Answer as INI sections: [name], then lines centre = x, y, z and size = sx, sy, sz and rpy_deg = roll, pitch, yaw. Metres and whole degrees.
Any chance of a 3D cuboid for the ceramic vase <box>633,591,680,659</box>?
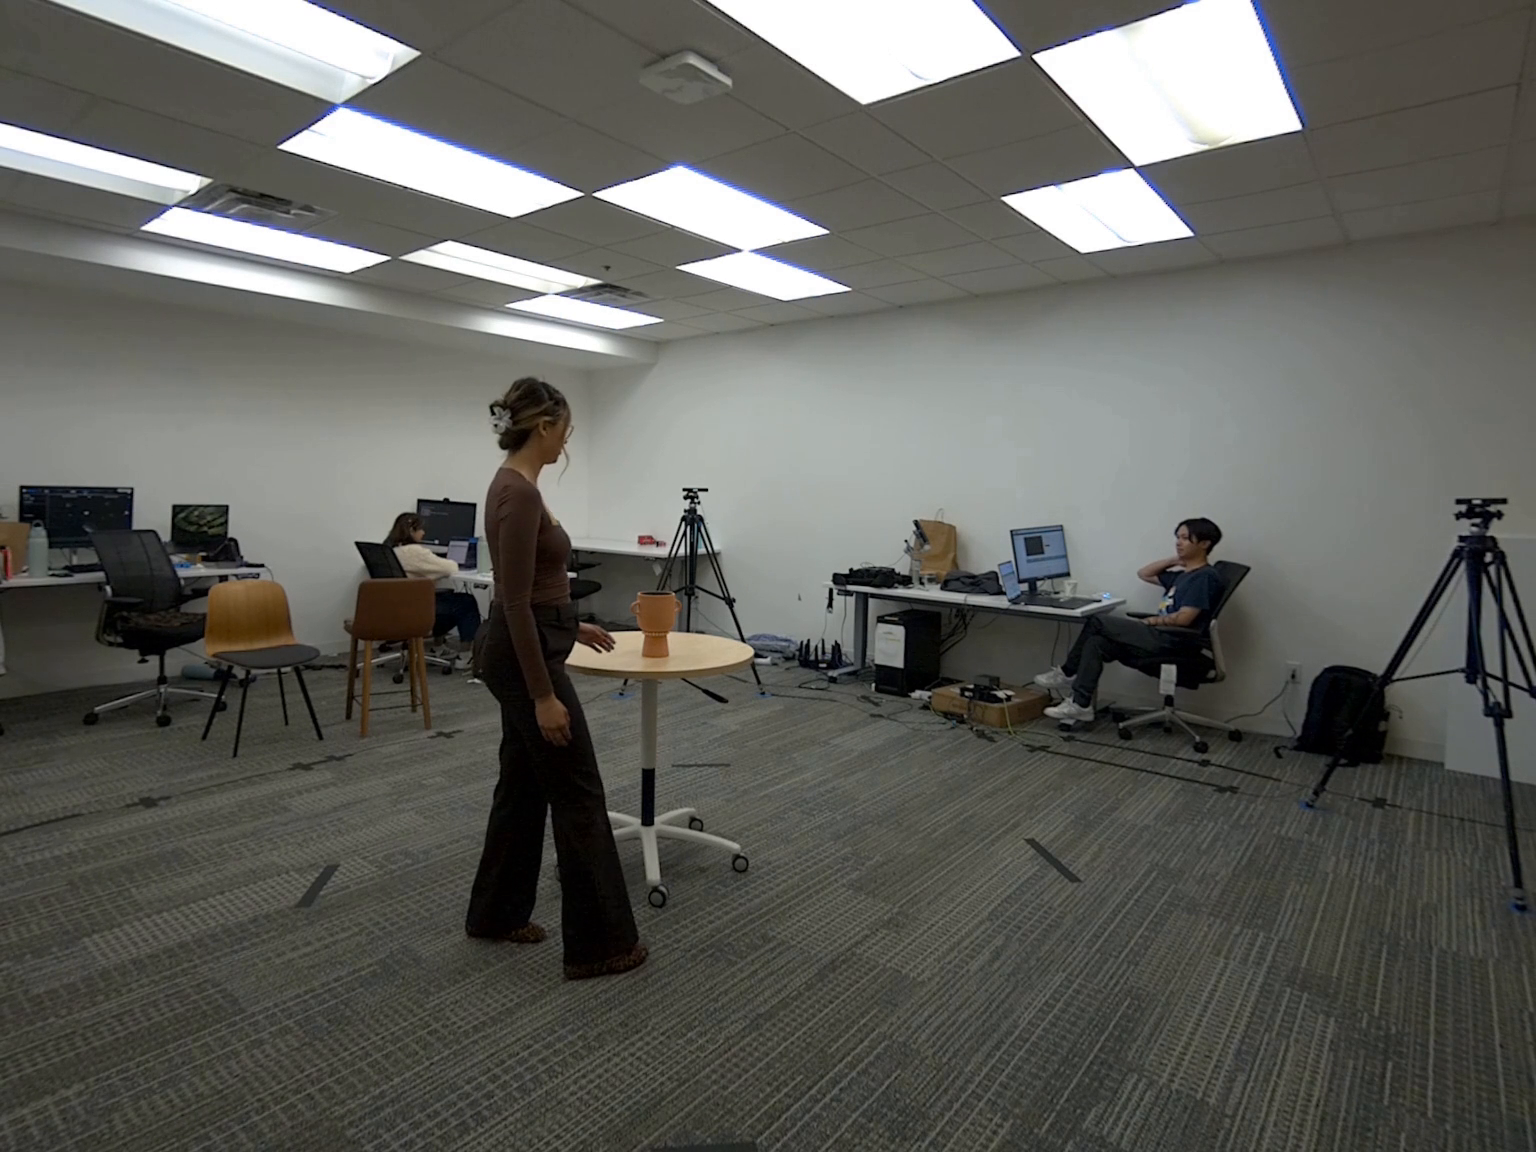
[ceramic vase]
centre = -0.410, 0.172, 3.005
size = 0.160, 0.218, 0.134
rpy_deg = 0, 6, 8
